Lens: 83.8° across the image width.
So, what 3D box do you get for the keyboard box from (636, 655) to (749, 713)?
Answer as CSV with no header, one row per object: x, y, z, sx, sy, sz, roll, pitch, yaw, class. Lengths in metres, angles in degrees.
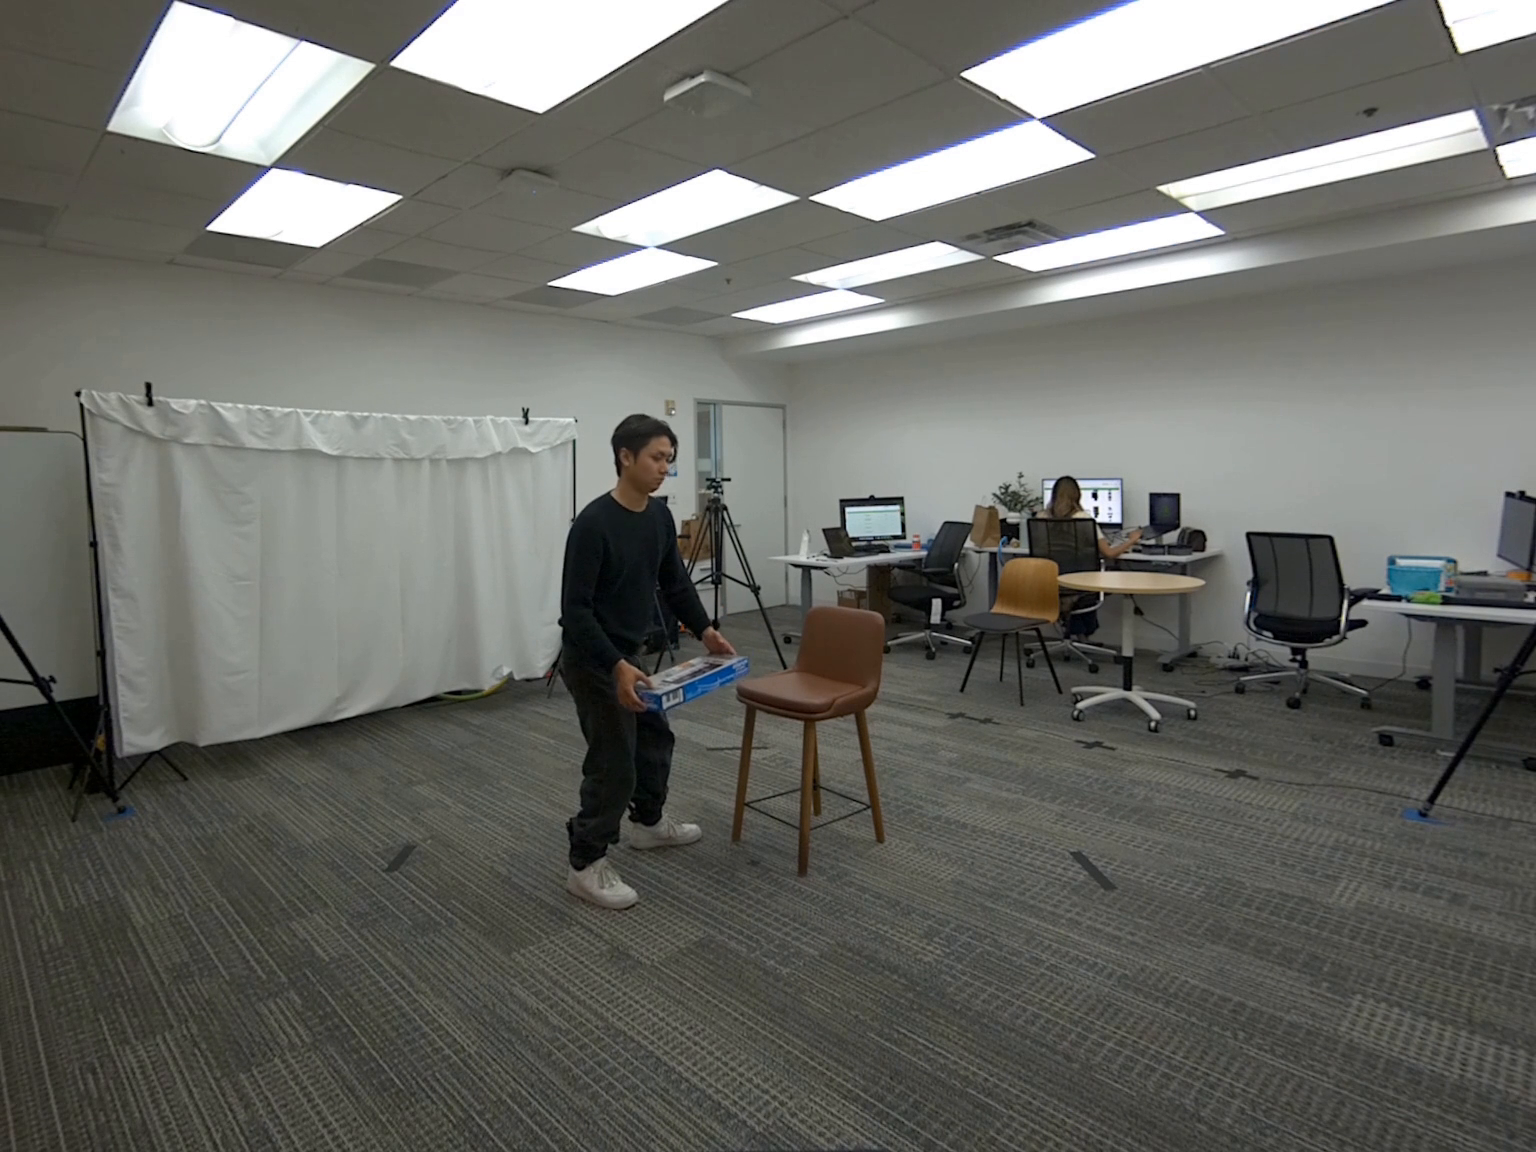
-0.273,0.347,2.824,0.181,0.058,0.427,4,13,41,keyboard box
